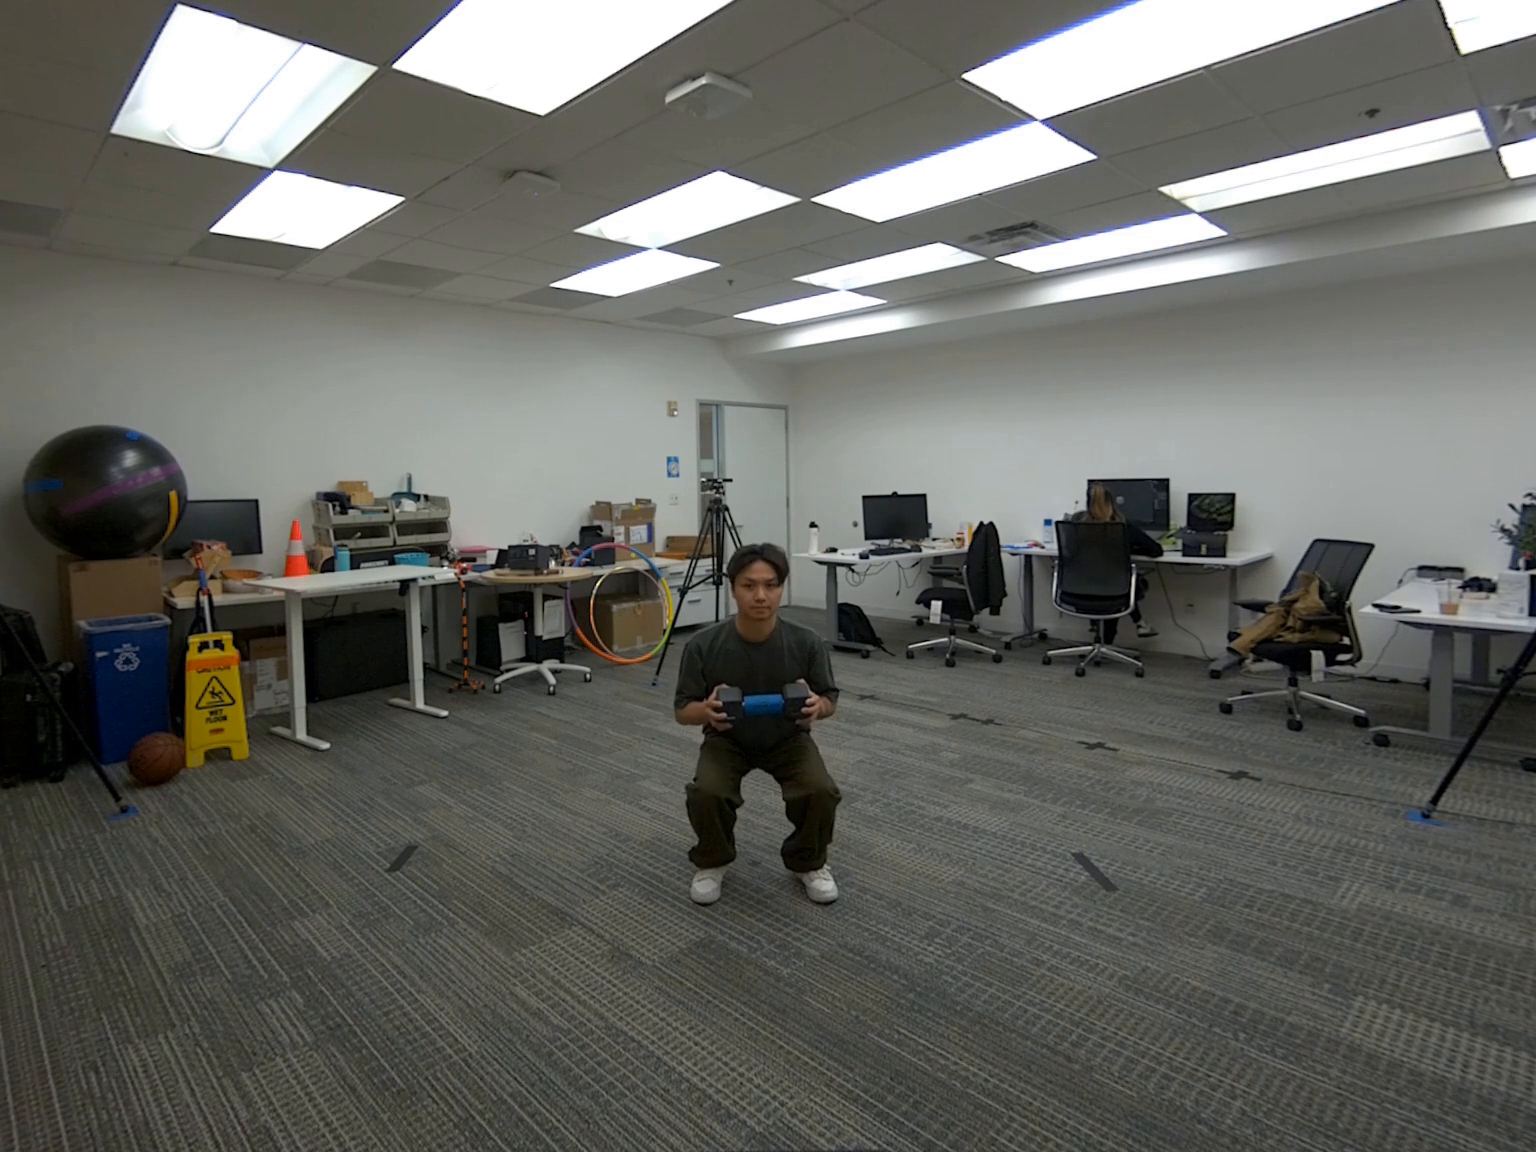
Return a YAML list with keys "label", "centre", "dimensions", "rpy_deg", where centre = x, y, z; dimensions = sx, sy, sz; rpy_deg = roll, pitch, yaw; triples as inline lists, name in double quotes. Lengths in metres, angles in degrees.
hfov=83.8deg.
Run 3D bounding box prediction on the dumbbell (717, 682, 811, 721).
- label: "dumbbell"
  centre: [-0.025, 0.407, 2.709]
  dimensions: [0.293, 0.111, 0.120]
  rpy_deg: [-4, -26, -1]
